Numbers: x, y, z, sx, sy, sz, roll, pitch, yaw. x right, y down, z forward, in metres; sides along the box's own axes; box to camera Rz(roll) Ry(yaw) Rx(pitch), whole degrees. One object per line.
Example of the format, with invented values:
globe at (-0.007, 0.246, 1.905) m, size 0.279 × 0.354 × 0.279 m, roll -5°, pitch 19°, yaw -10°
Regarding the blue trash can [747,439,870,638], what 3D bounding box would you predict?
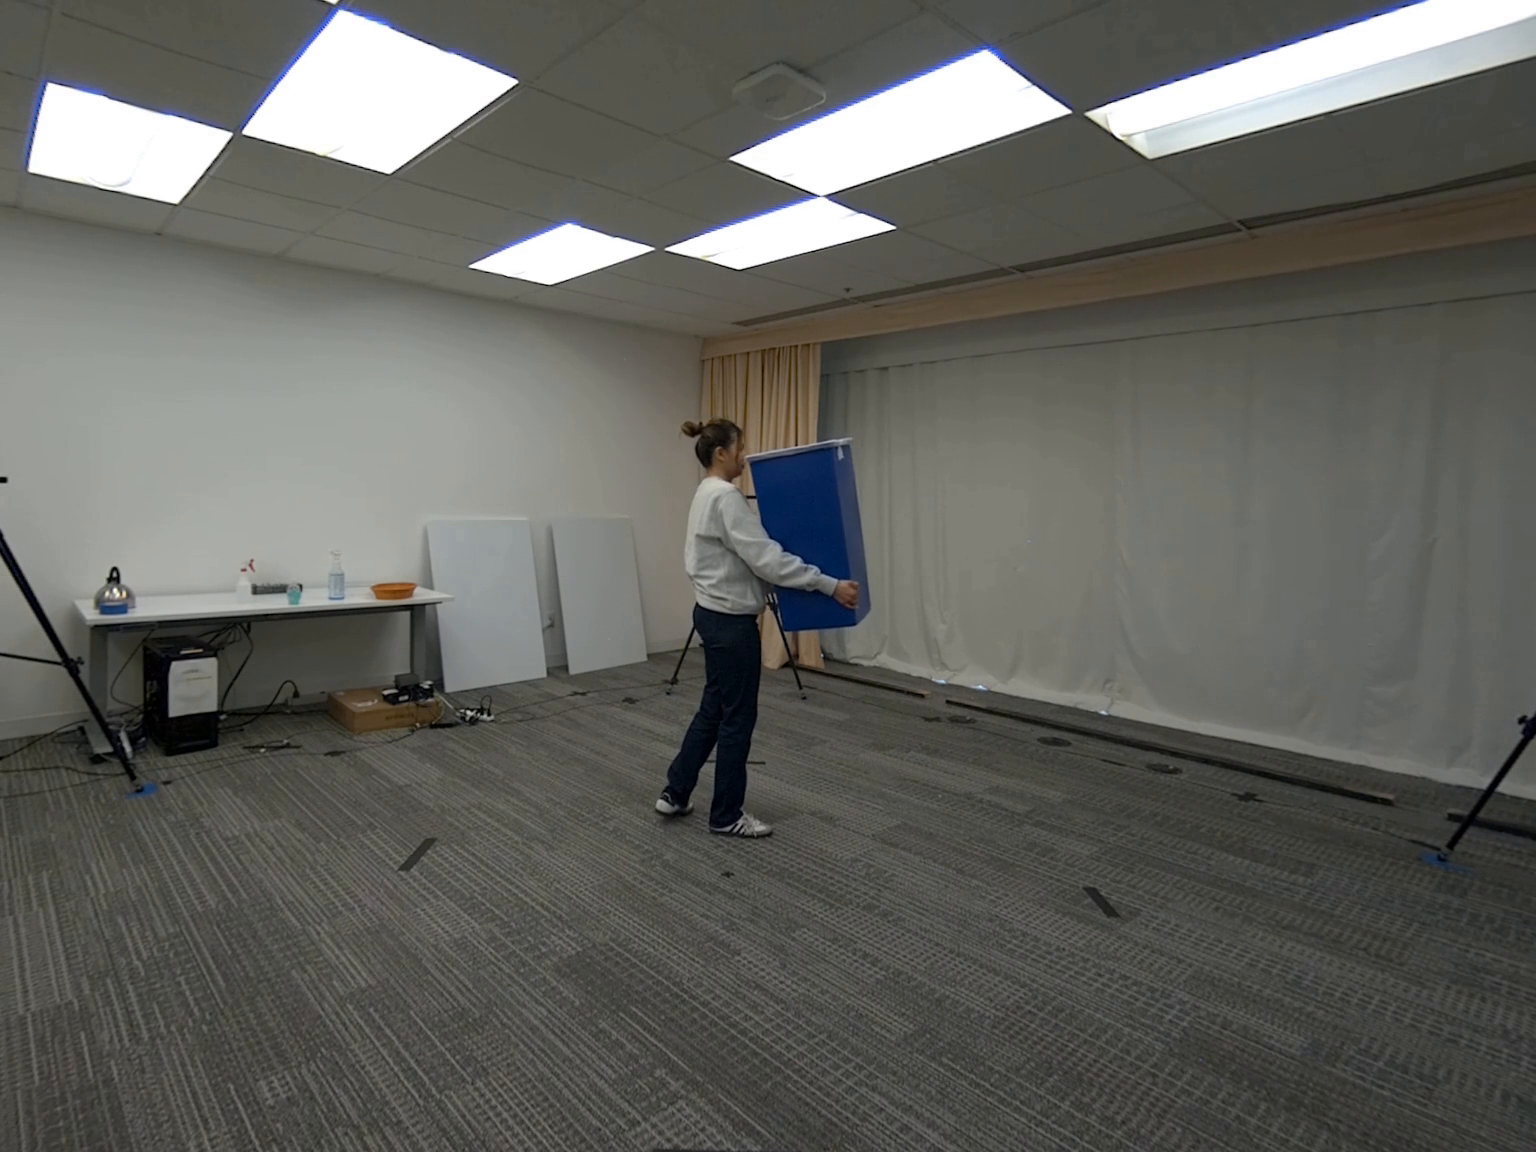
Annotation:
blue trash can at (0.173, -0.170, 3.385) m, size 0.379 × 0.711 × 0.374 m, roll -7°, pitch 5°, yaw 21°
